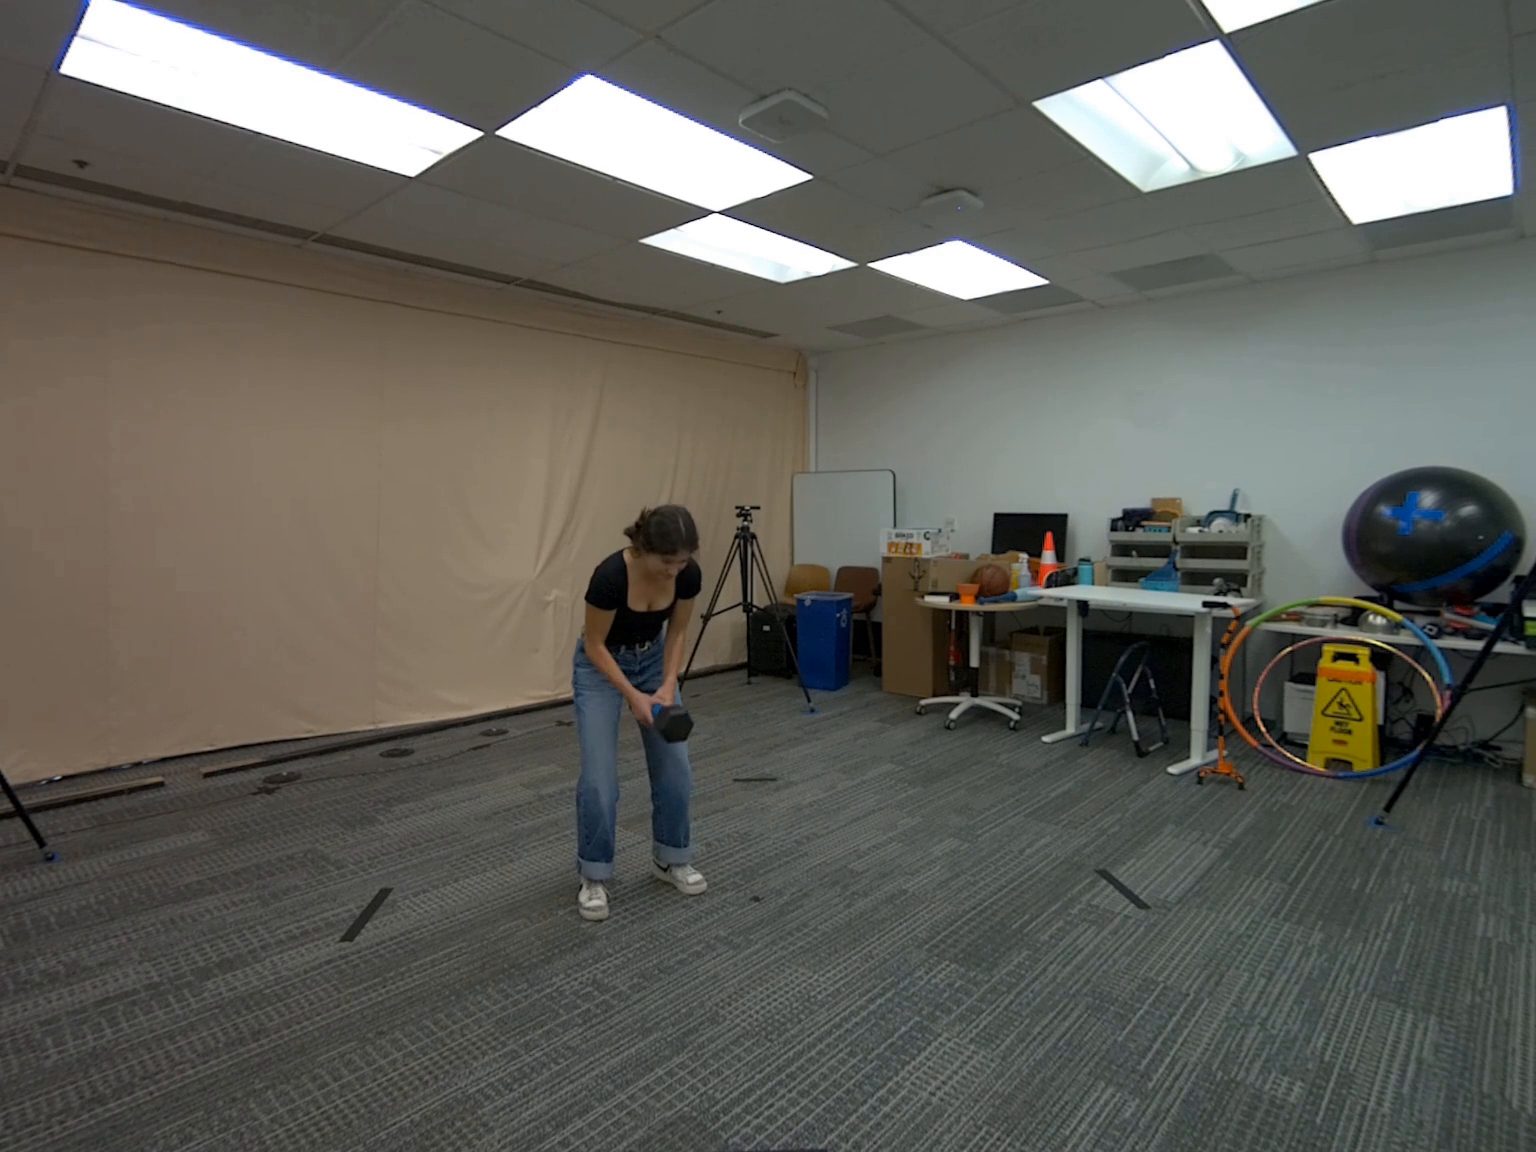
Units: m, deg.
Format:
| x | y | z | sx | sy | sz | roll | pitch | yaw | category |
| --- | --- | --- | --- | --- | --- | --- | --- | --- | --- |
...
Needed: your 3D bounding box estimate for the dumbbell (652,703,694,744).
| x | y | z | sx | sy | sz | roll | pitch | yaw | category |
| --- | --- | --- | --- | --- | --- | --- | --- | --- | --- |
| -0.354 | 0.455 | 2.789 | 0.107 | 0.121 | 0.302 | -35 | 21 | -20 | dumbbell |
